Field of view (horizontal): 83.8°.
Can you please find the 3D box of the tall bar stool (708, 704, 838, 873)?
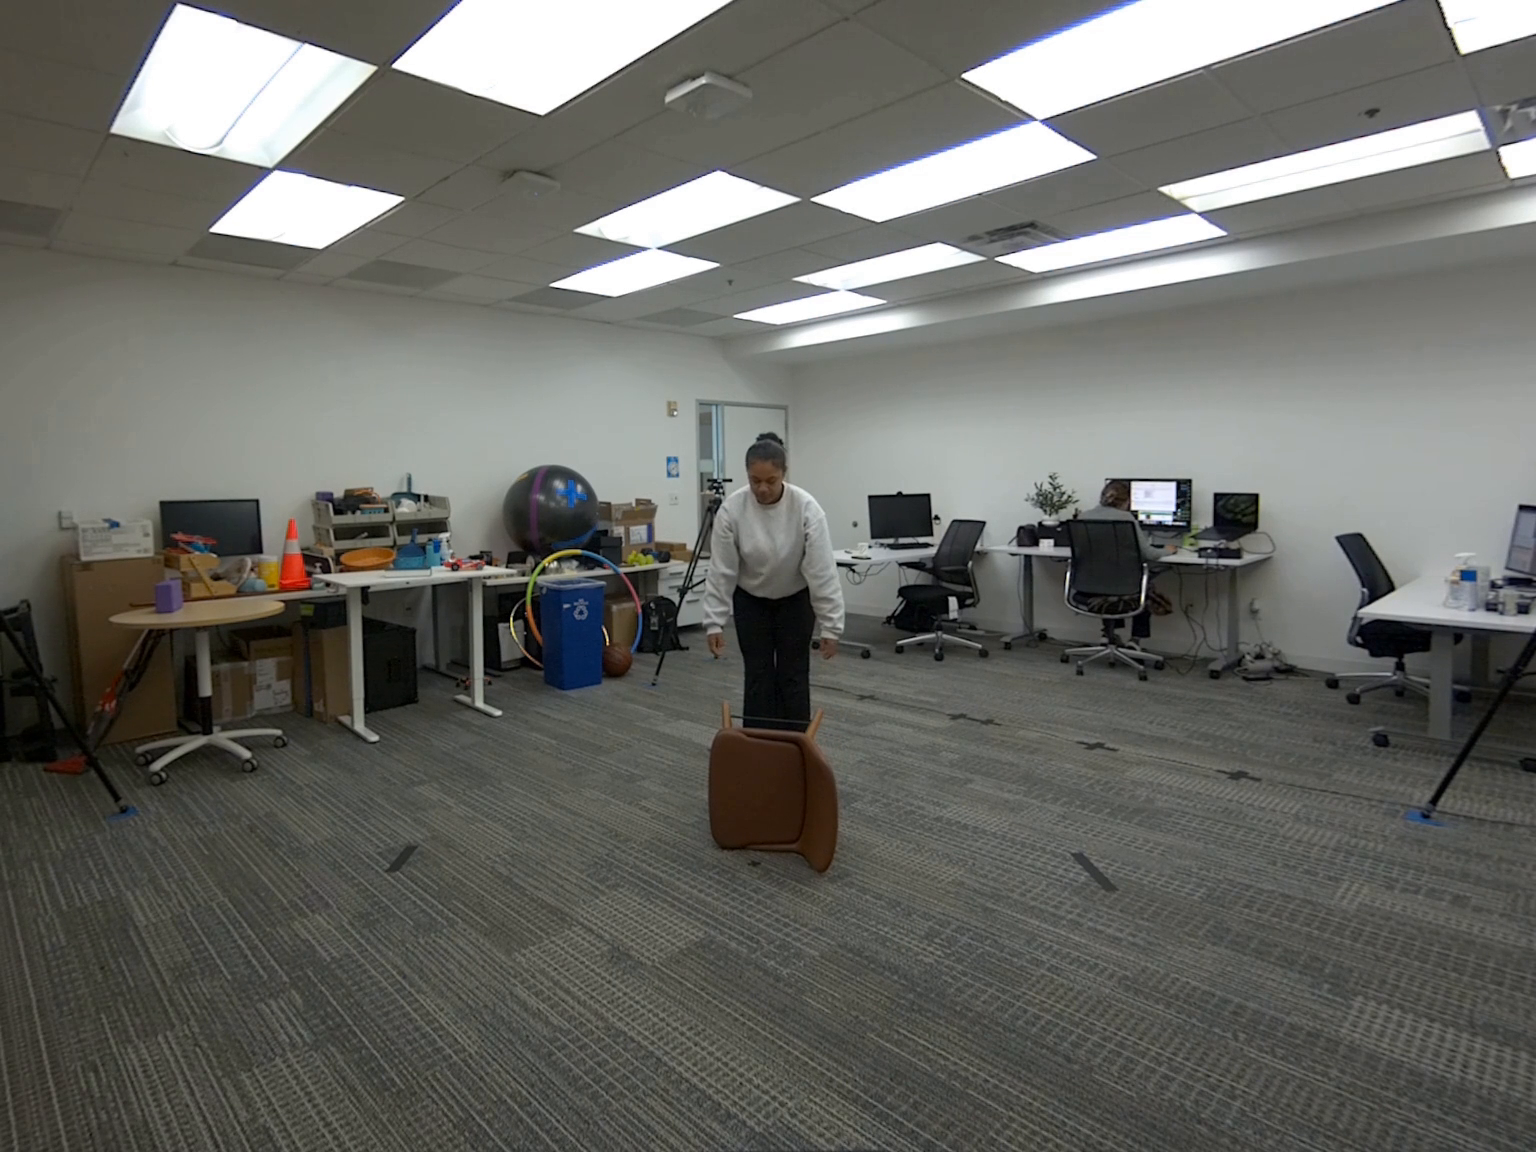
[{"bbox_3d":[0.003,0.808,3.372,0.469,0.455,0.890,2,4,1],"label":"tall bar stool"}]
